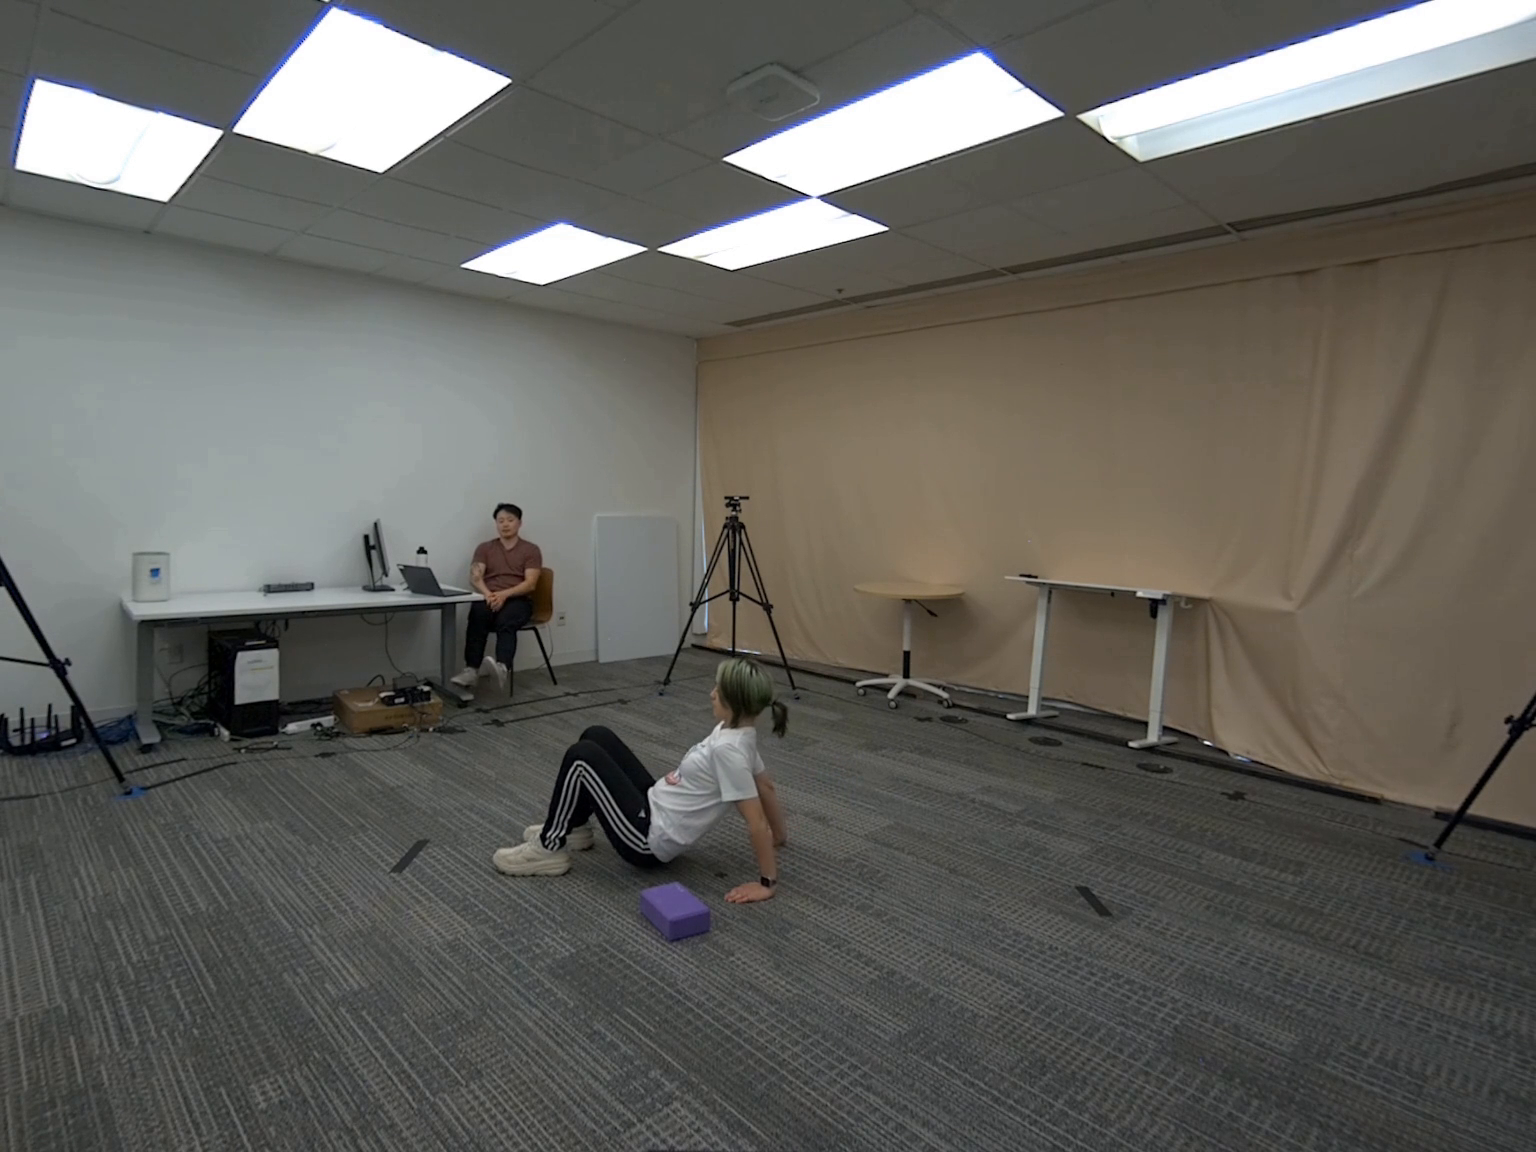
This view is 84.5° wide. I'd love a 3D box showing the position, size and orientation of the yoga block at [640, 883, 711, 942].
[{"bbox_3d":[-0.319,1.095,2.749,0.146,0.076,0.235,-3,7,-32],"label":"yoga block"}]
